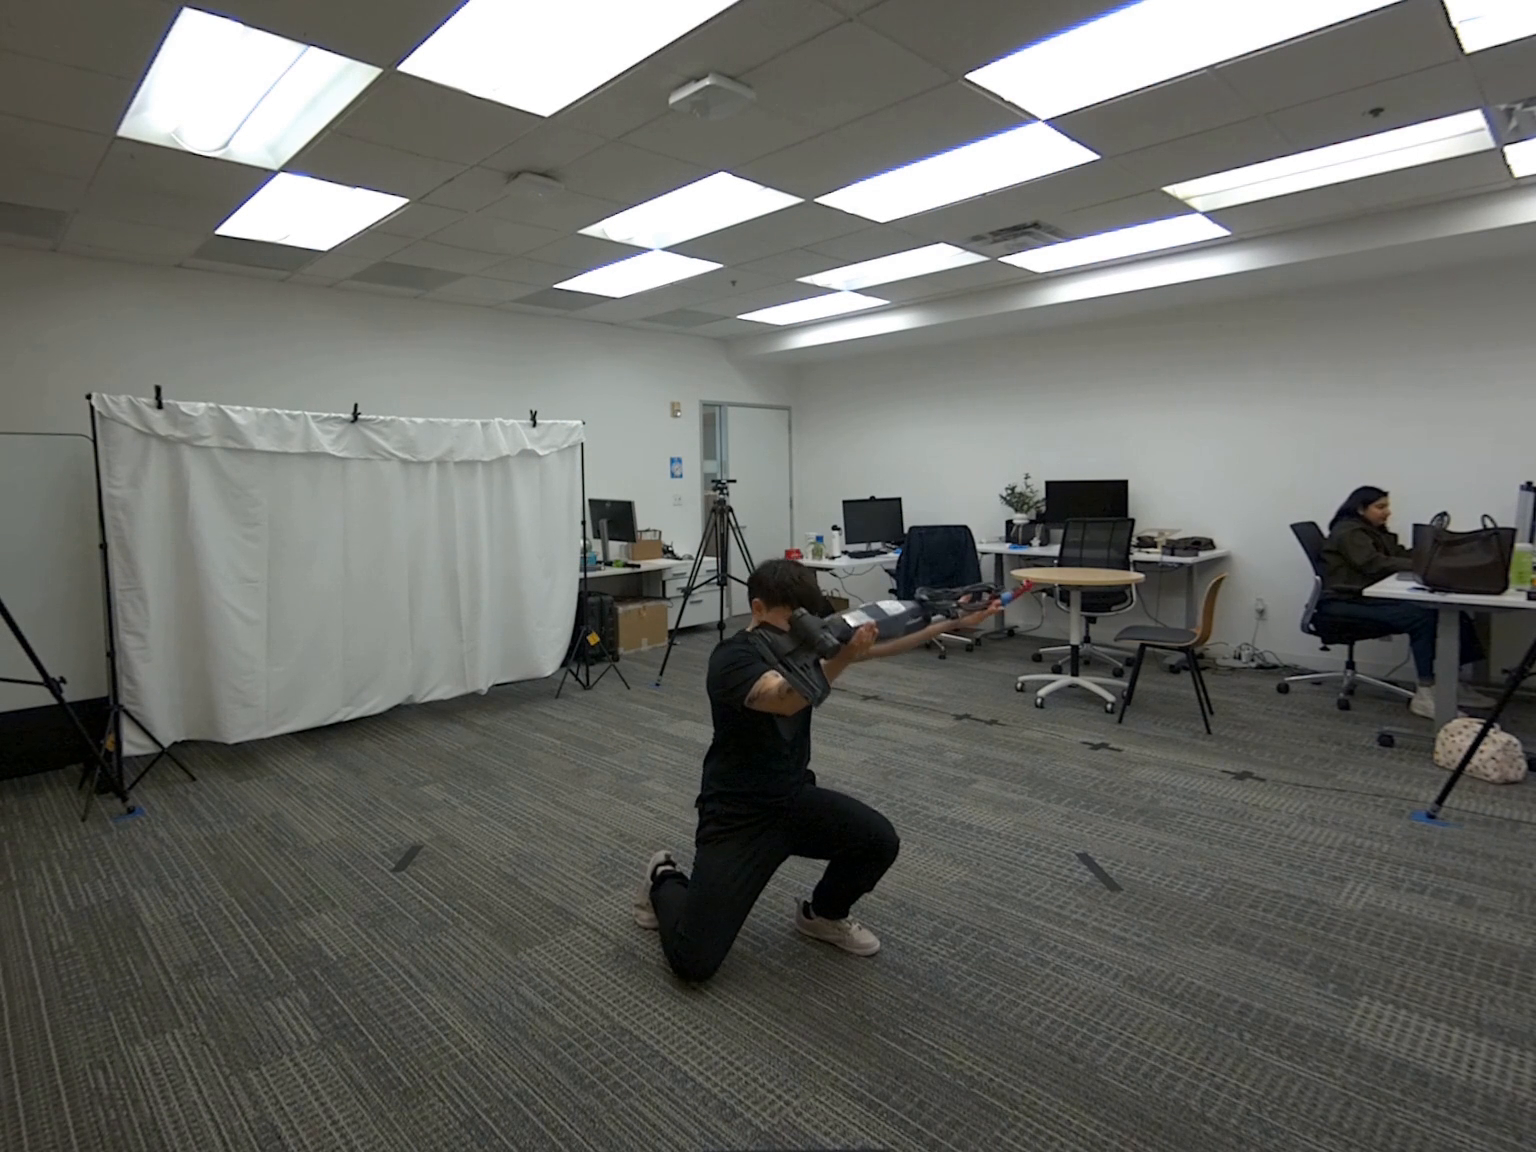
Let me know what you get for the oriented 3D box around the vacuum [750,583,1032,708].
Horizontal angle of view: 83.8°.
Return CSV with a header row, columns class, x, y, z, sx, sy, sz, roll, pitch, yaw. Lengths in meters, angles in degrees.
class,x,y,z,sx,sy,sz,roll,pitch,yaw
vacuum,0.433,0.095,2.307,1.025,0.142,0.262,-12,38,-40
